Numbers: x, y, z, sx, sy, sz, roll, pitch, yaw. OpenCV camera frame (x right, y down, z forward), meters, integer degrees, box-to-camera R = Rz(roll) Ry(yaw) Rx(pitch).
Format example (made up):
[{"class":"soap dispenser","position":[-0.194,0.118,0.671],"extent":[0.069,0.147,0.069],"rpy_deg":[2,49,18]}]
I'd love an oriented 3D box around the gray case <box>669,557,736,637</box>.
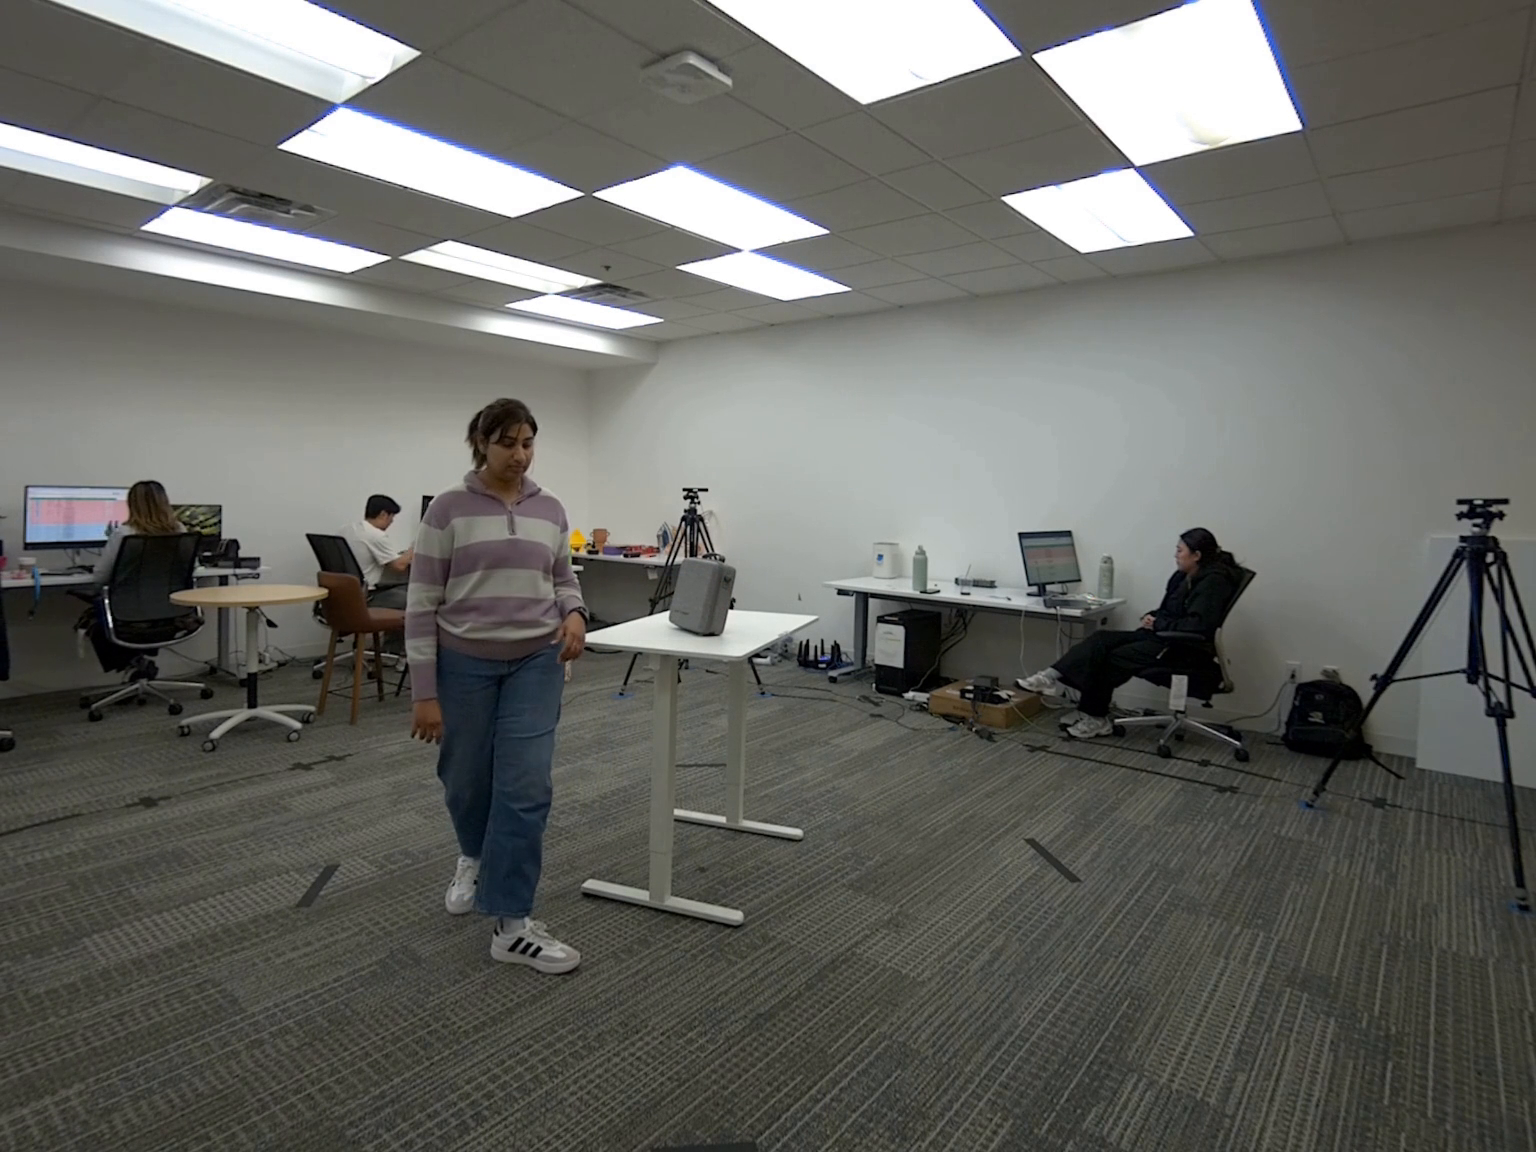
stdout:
[{"class":"gray case","position":[-0.244,0.062,3.012],"extent":[0.101,0.261,0.264],"rpy_deg":[11,-2,-29]}]
